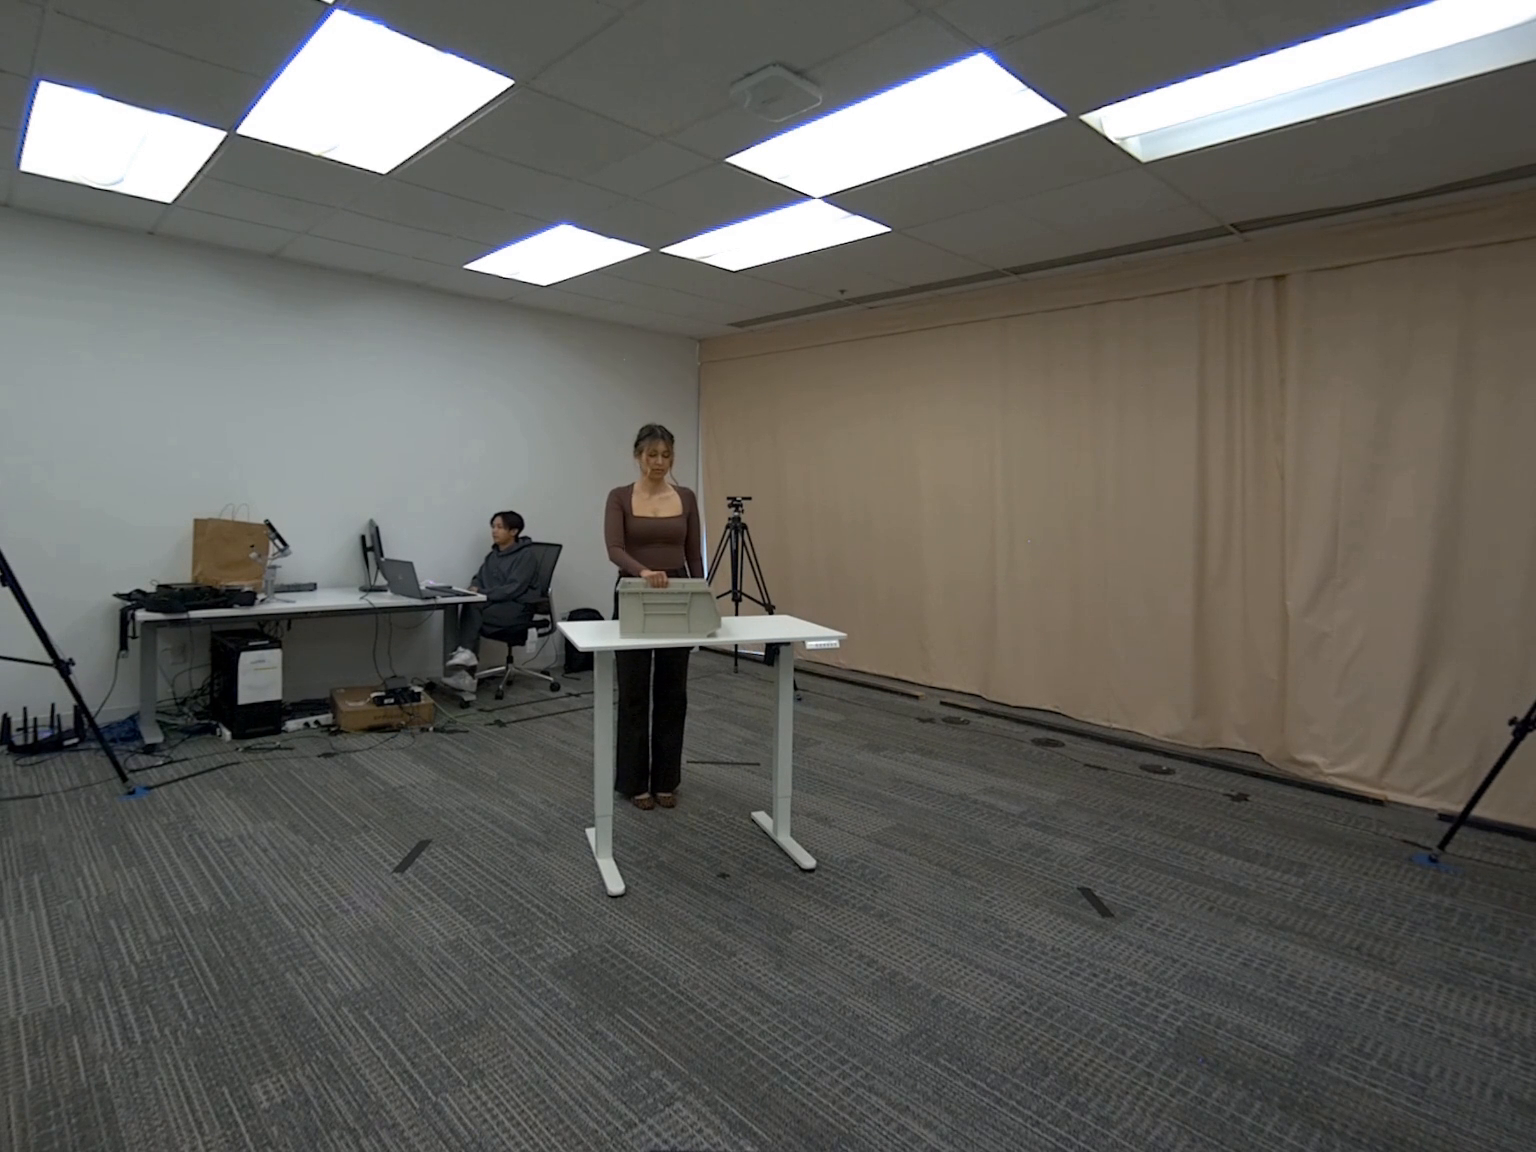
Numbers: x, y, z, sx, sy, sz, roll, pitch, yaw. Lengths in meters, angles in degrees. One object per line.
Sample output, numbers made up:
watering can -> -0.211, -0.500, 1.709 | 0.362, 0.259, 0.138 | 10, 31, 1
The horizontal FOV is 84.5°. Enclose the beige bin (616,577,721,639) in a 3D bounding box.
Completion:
beige bin -> -0.384, 0.124, 3.224 | 0.375, 0.188, 0.426 | 1, 5, -7
